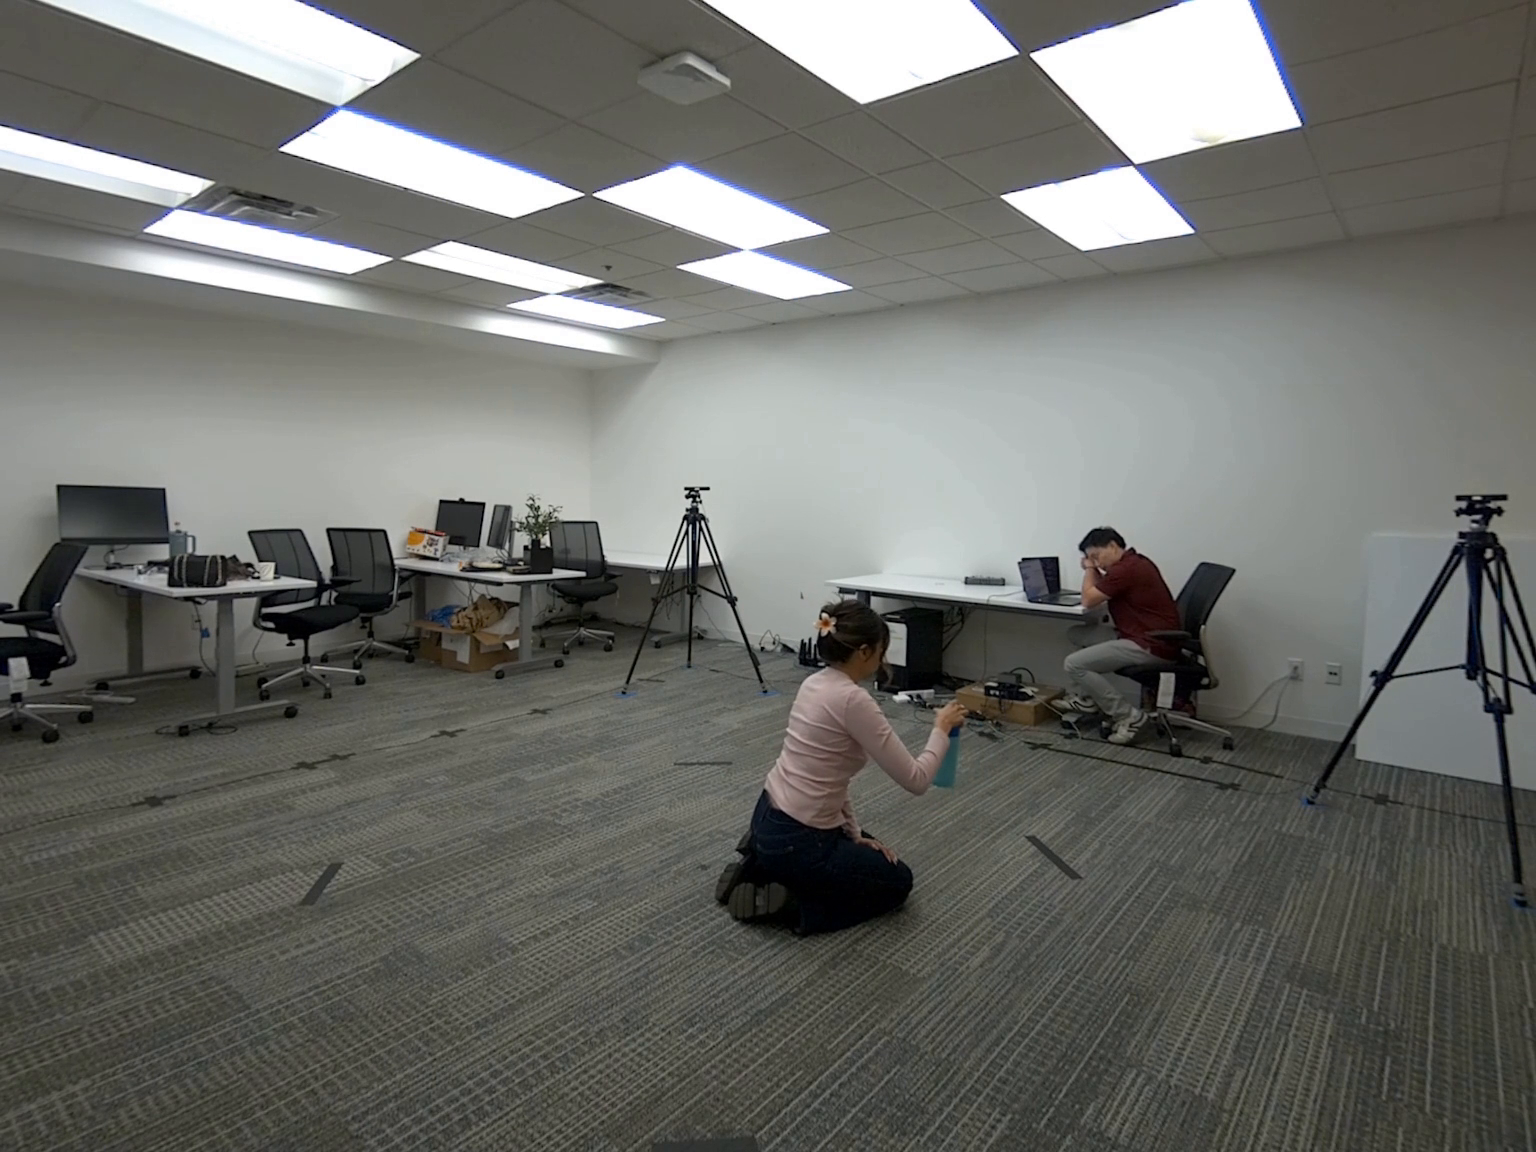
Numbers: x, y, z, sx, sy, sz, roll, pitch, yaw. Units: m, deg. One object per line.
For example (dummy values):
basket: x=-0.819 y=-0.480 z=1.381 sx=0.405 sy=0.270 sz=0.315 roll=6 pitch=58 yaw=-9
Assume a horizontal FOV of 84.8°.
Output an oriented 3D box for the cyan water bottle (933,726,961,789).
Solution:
cyan water bottle: x=0.601 y=0.573 z=2.890 sx=0.092 sy=0.282 sz=0.093 roll=4 pitch=4 yaw=-2
